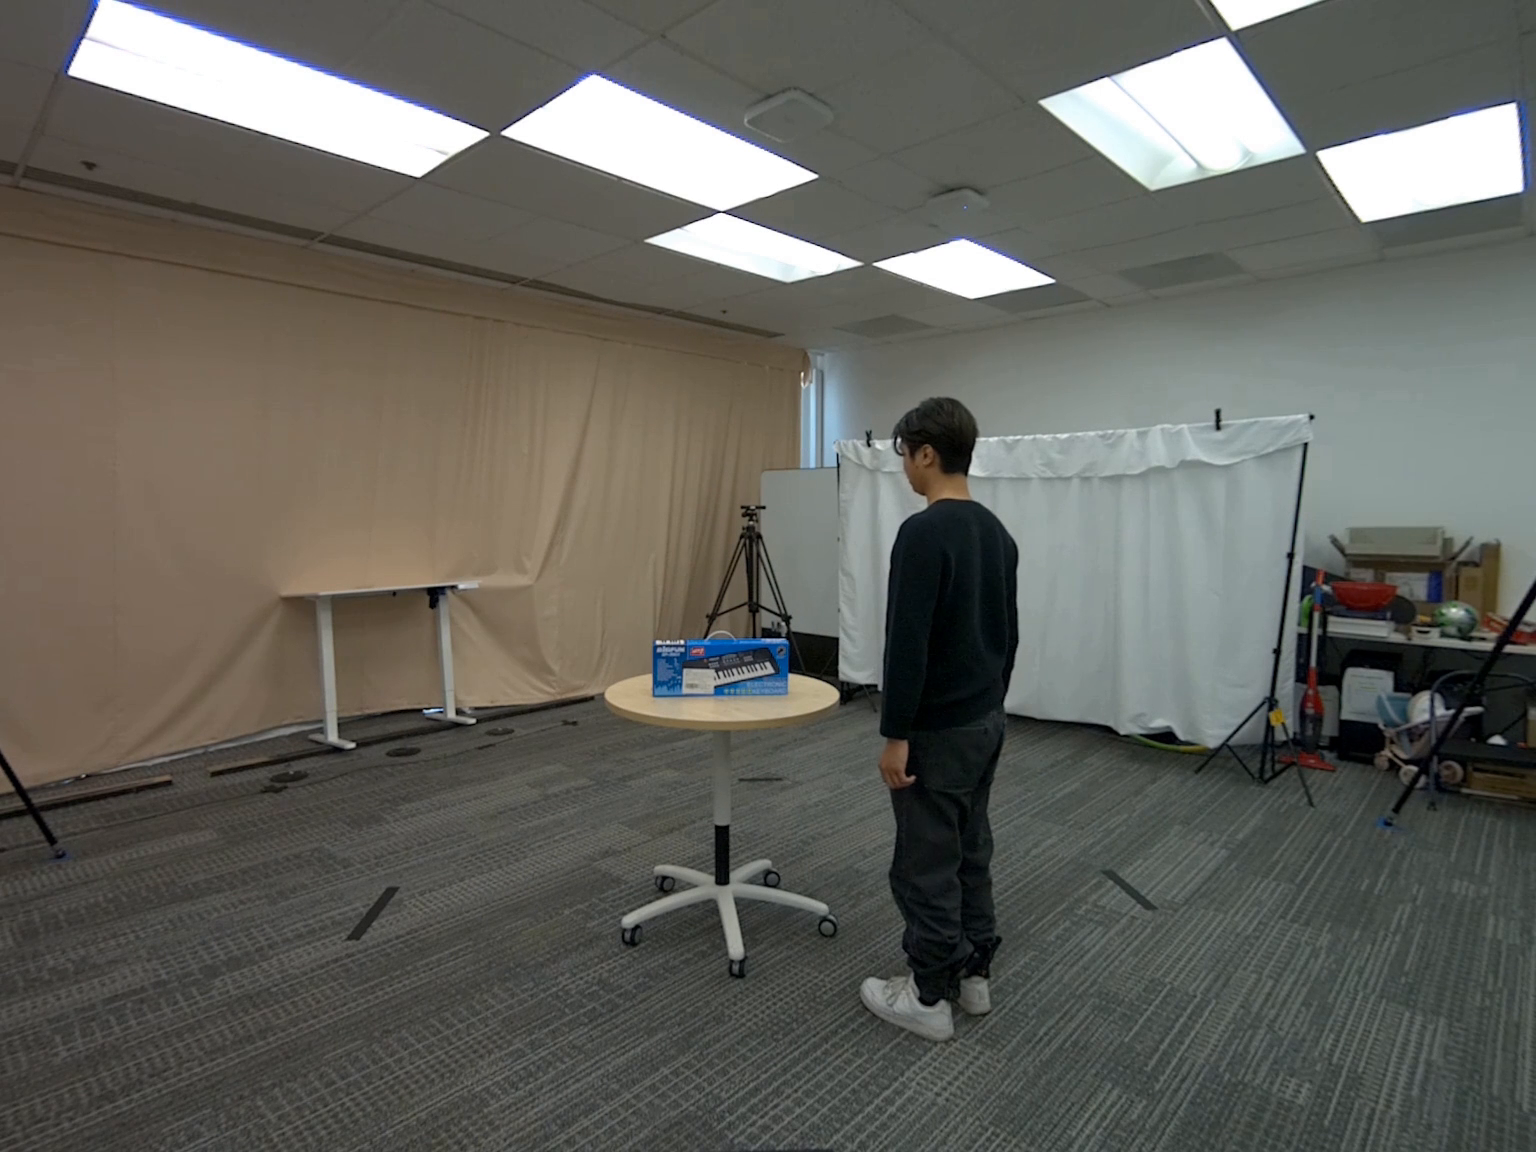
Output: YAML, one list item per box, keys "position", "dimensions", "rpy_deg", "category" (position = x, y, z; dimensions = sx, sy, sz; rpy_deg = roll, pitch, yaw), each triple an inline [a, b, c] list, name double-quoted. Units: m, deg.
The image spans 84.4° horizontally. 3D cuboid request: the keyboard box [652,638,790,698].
- position: [-0.155, 0.296, 2.711]
  dimensions: [0.435, 0.175, 0.059]
  rpy_deg: [0, 8, -4]
  category: "keyboard box"
